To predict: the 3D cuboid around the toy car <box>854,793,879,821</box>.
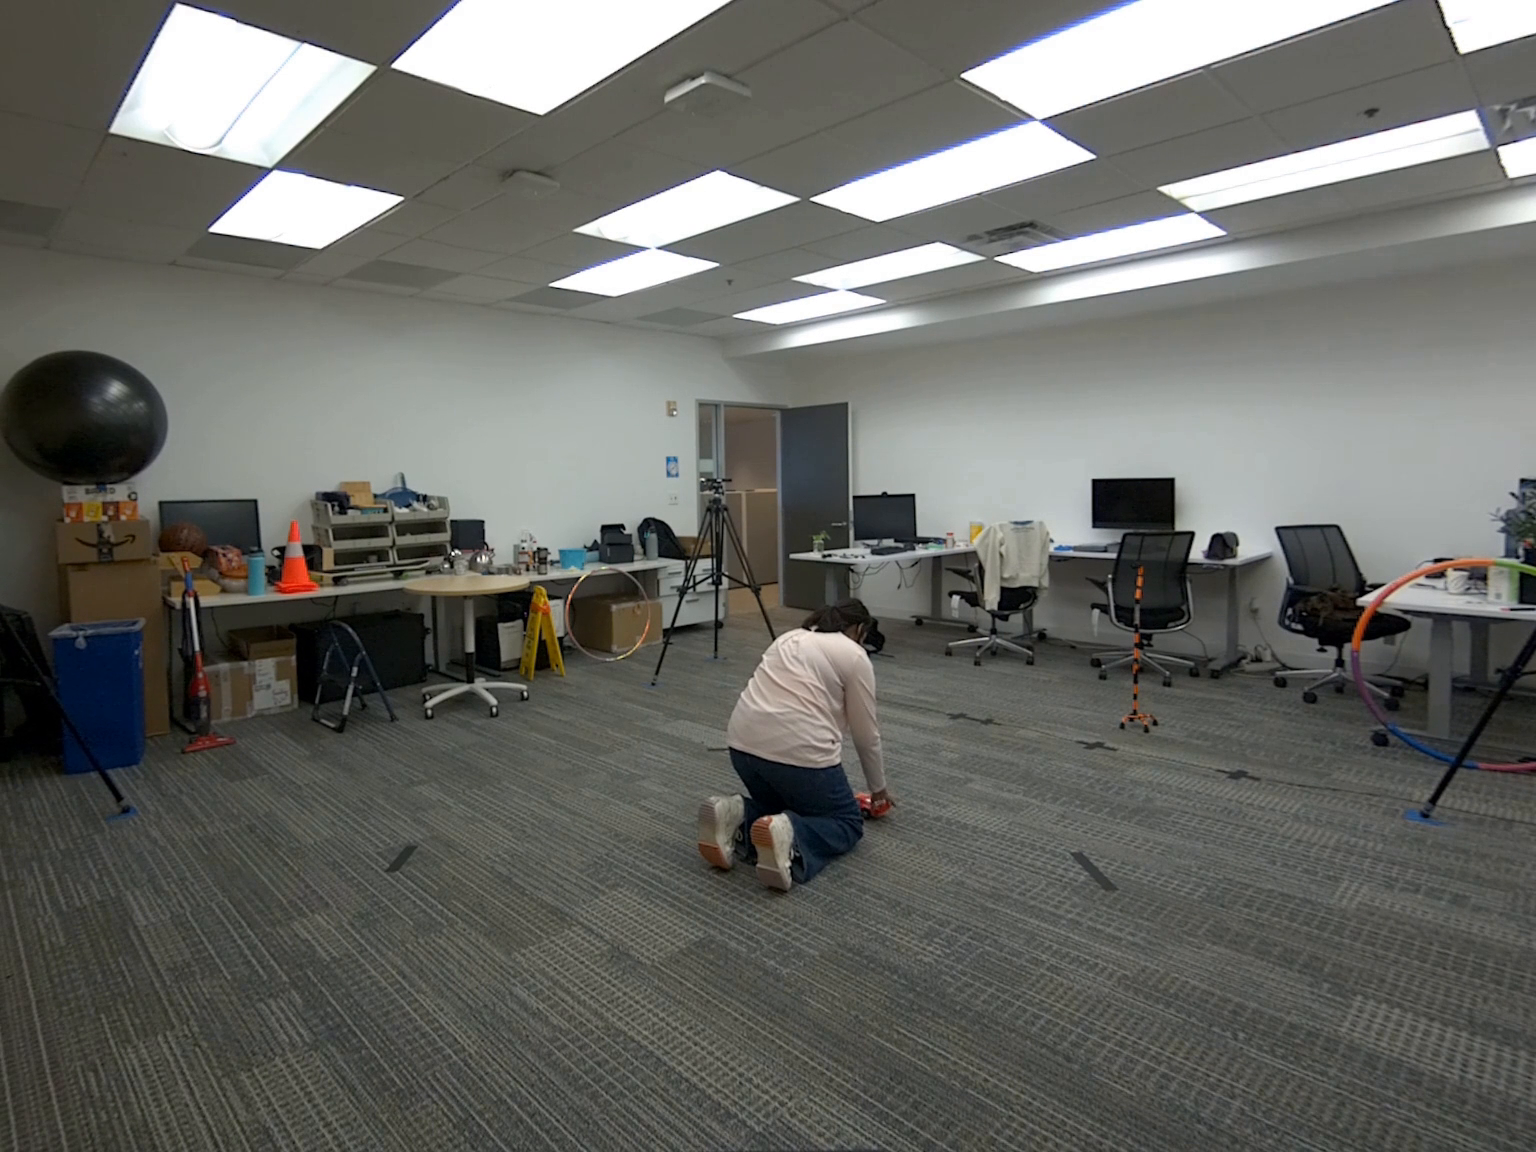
[{"bbox_3d":[0.391,0.952,3.555,0.260,0.084,0.127,-13,-5,42],"label":"toy car"}]
